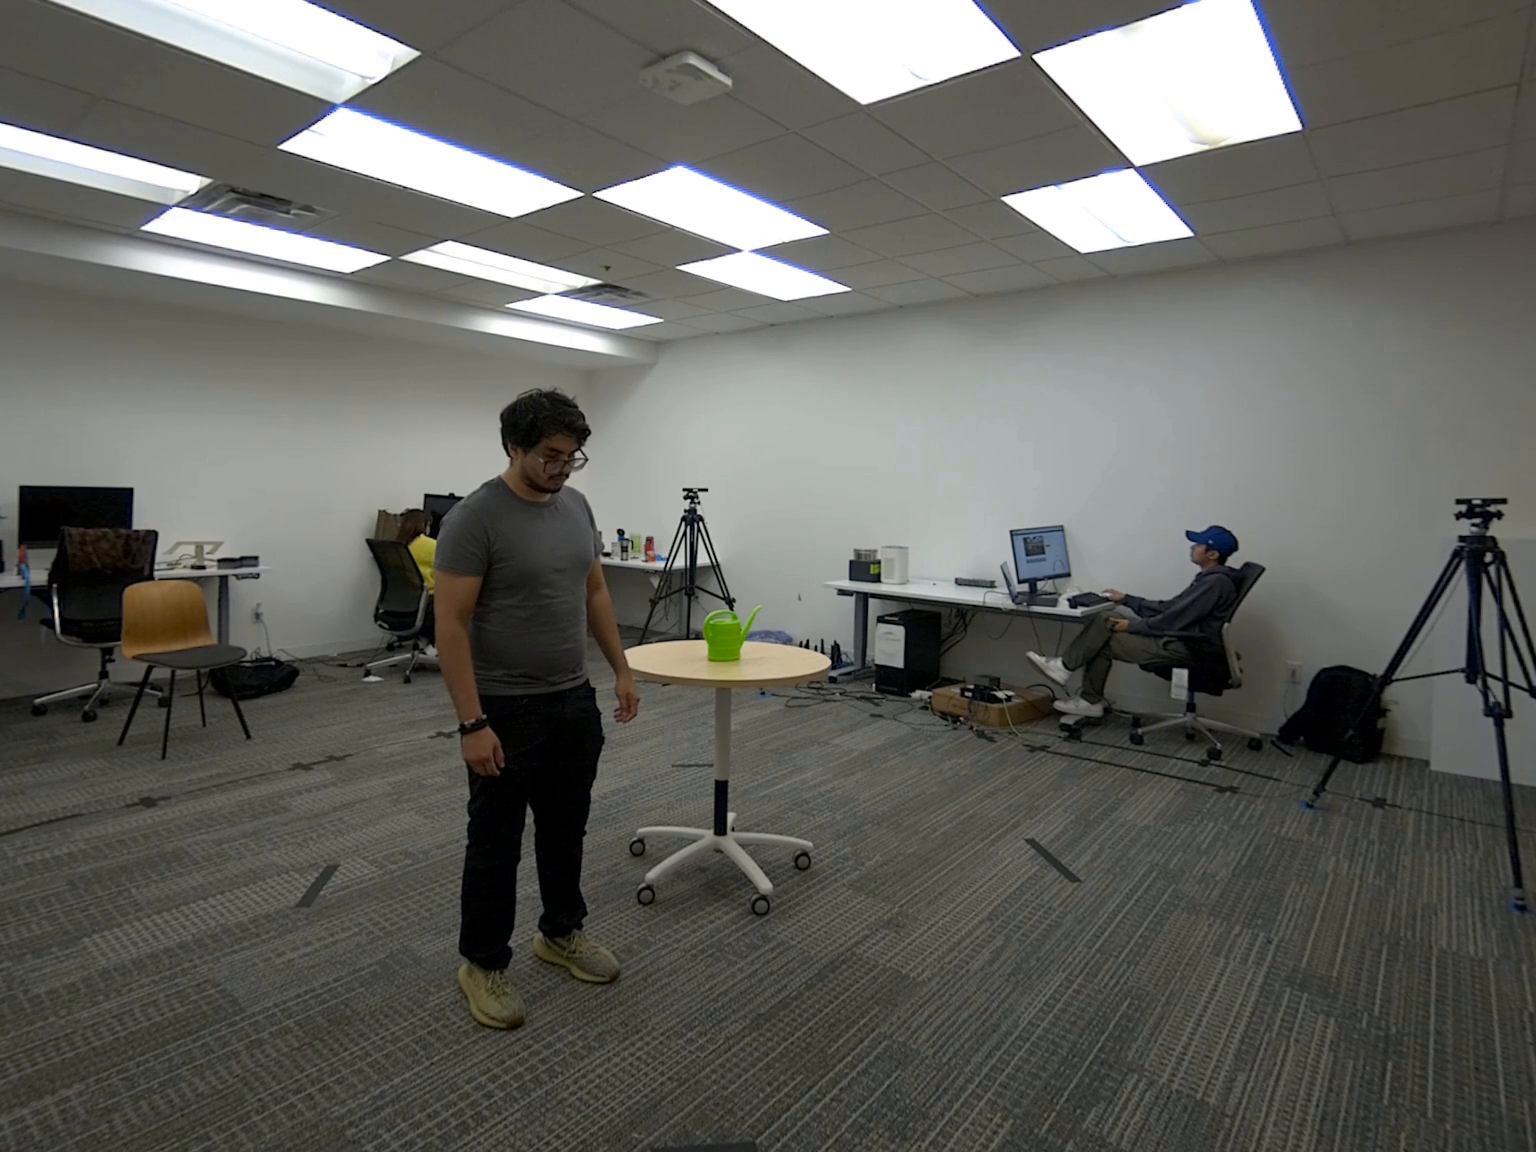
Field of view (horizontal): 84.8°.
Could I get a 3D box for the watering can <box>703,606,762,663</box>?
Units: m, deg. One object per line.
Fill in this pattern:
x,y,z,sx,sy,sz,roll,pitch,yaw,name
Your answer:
-0.129,0.205,3.049,0.271,0.176,0.101,-2,5,-27,watering can
